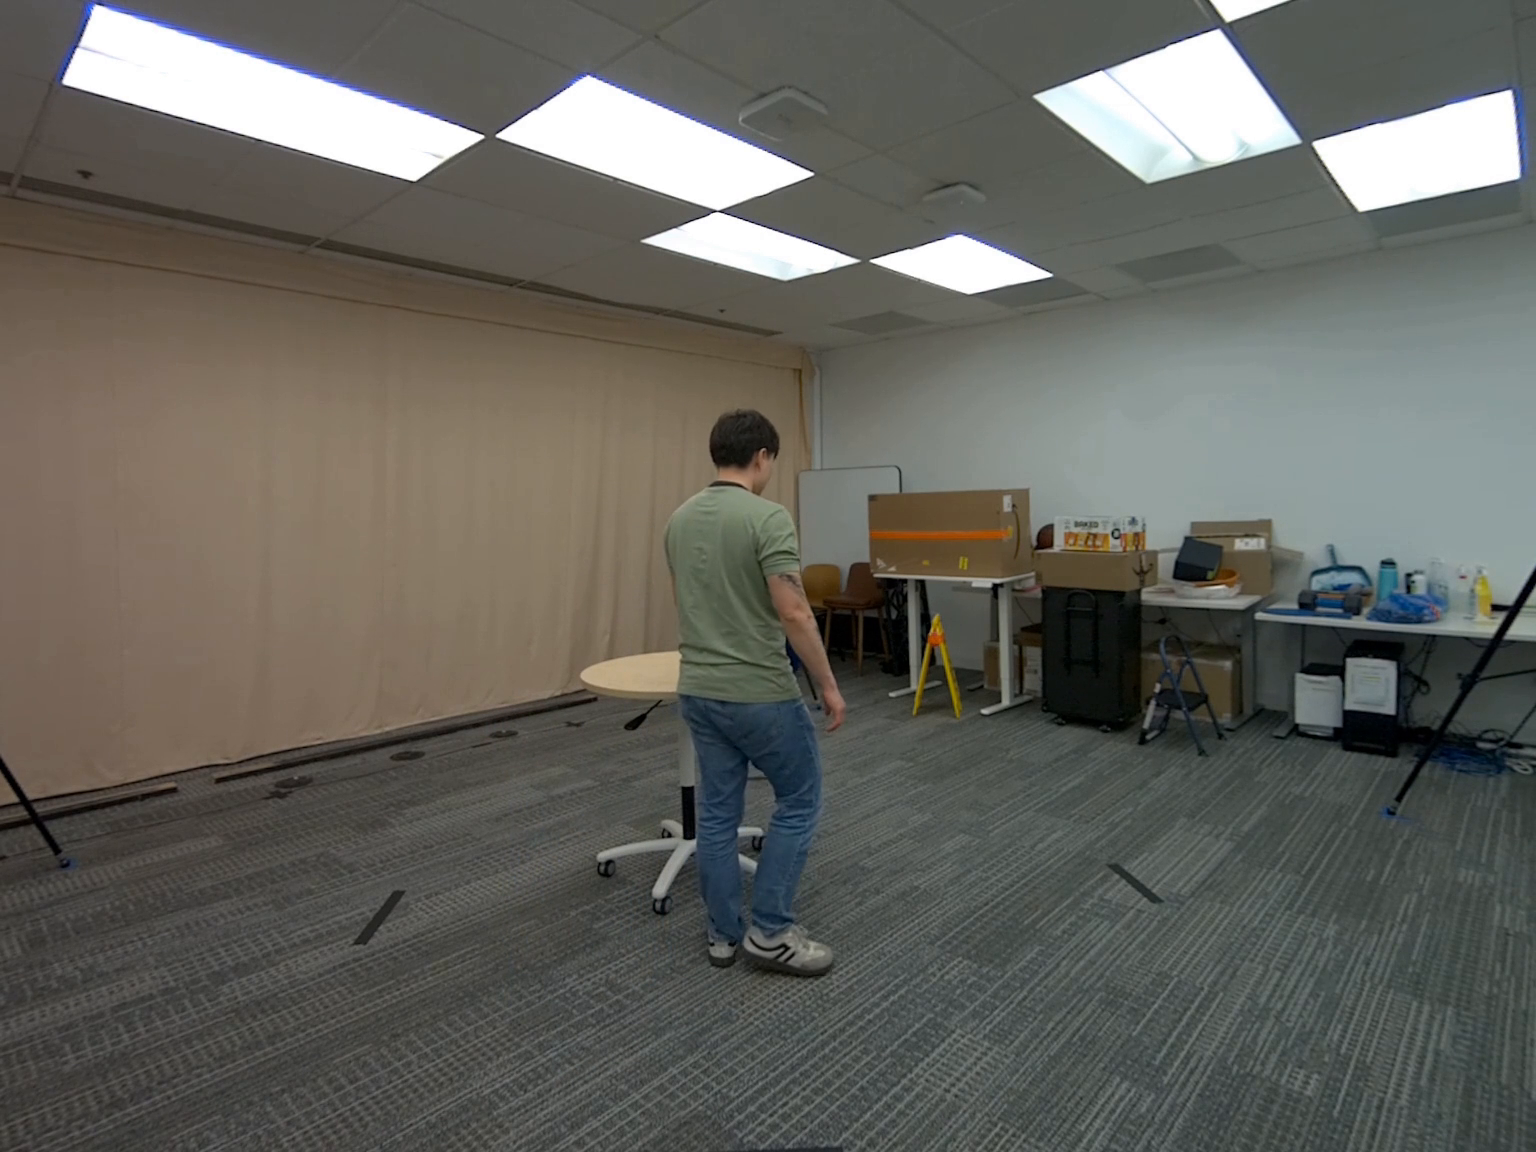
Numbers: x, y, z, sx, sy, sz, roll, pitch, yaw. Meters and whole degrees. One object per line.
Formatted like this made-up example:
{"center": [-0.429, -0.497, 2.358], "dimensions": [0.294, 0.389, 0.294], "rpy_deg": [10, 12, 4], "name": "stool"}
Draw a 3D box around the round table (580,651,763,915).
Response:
{"center": [-0.300, 0.740, 3.162], "dimensions": [0.763, 0.792, 0.767], "rpy_deg": [-2, 4, -2], "name": "round table"}
